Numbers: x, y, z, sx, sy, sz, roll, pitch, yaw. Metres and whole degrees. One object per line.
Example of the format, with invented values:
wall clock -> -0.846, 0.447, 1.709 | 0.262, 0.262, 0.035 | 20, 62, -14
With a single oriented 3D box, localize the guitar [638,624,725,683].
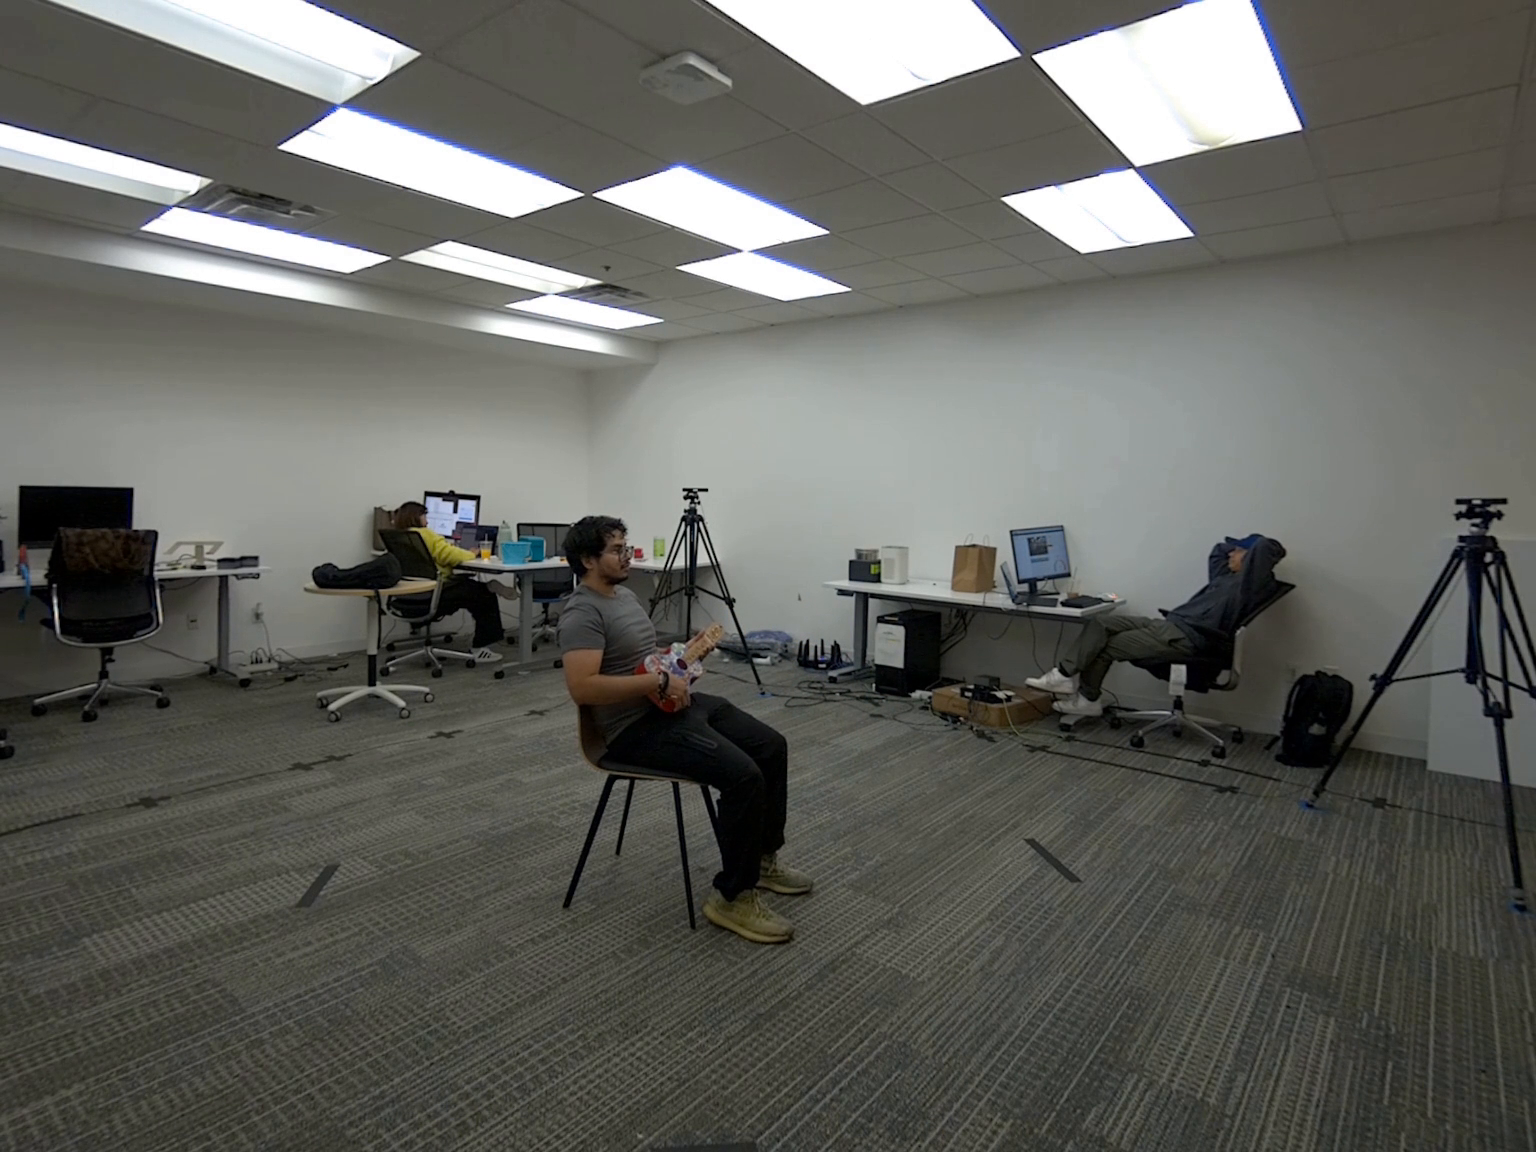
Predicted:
guitar -> -0.272, 0.309, 2.946 | 0.071, 0.196, 0.489 | -46, -11, 29
